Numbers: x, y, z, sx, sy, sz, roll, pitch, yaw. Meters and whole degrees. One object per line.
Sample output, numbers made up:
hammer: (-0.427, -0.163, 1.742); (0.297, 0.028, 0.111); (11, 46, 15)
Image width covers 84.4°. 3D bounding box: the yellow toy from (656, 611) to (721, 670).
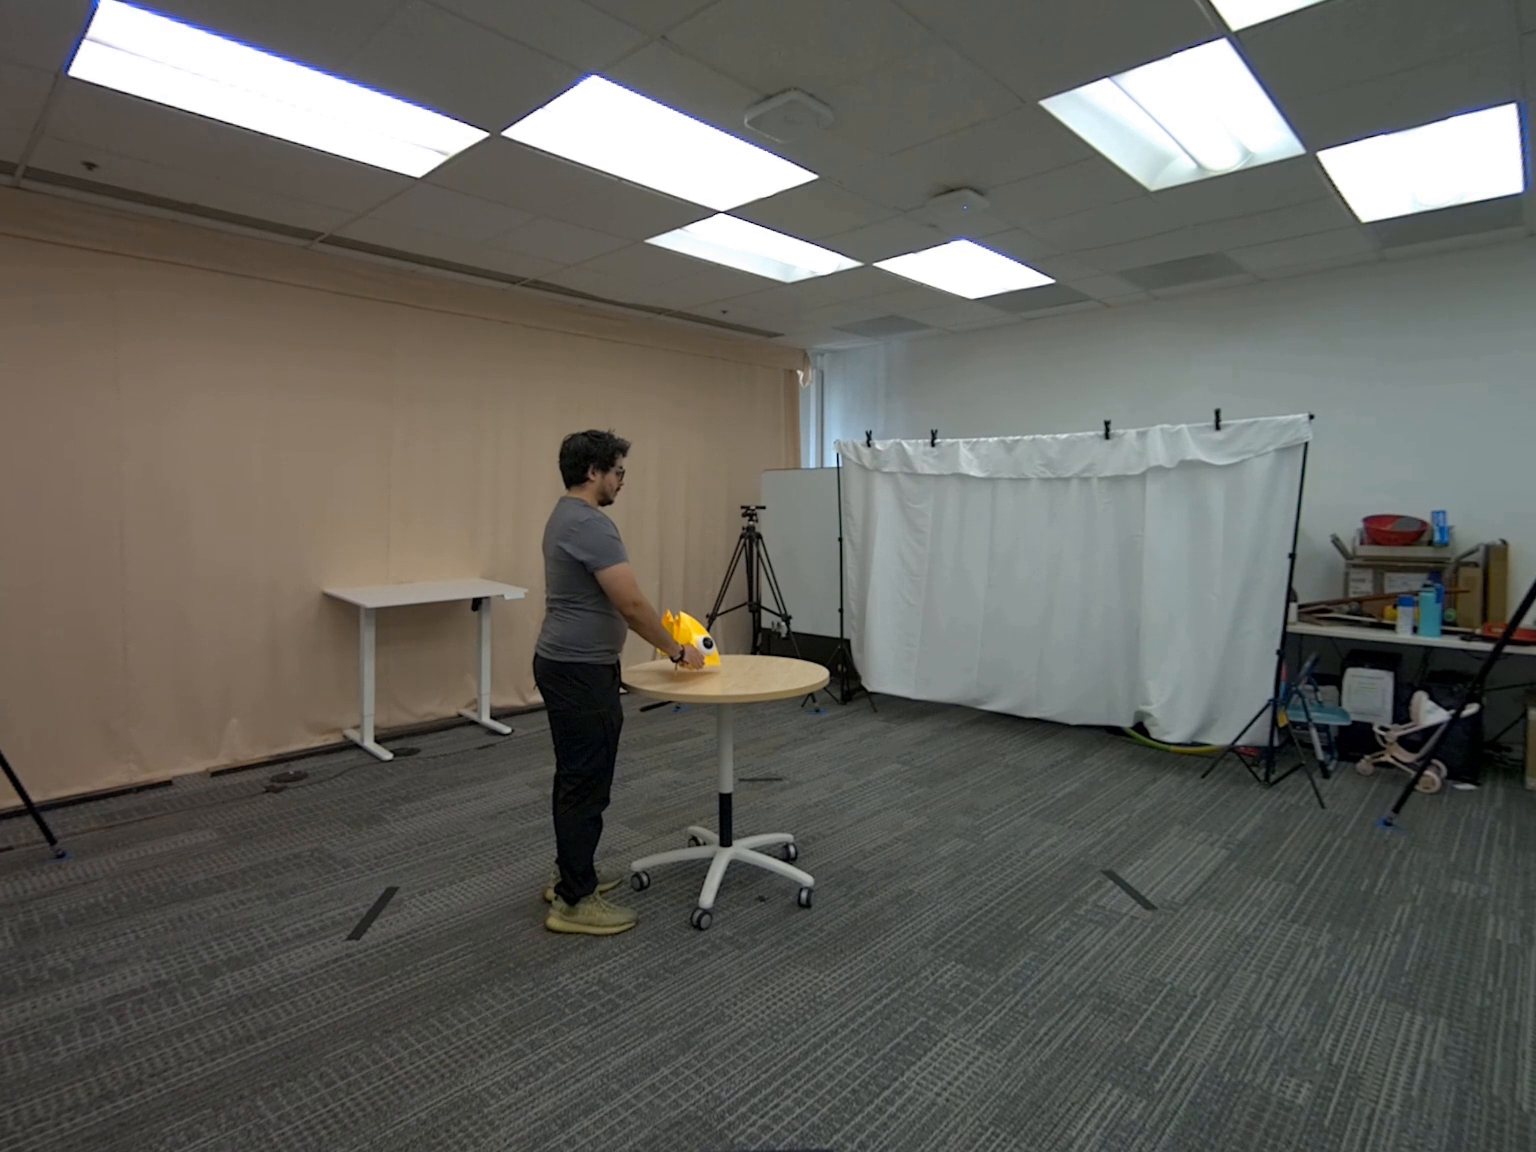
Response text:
yellow toy: (-0.260, 0.245, 3.044); (0.225, 0.193, 0.210); (16, -4, -24)
